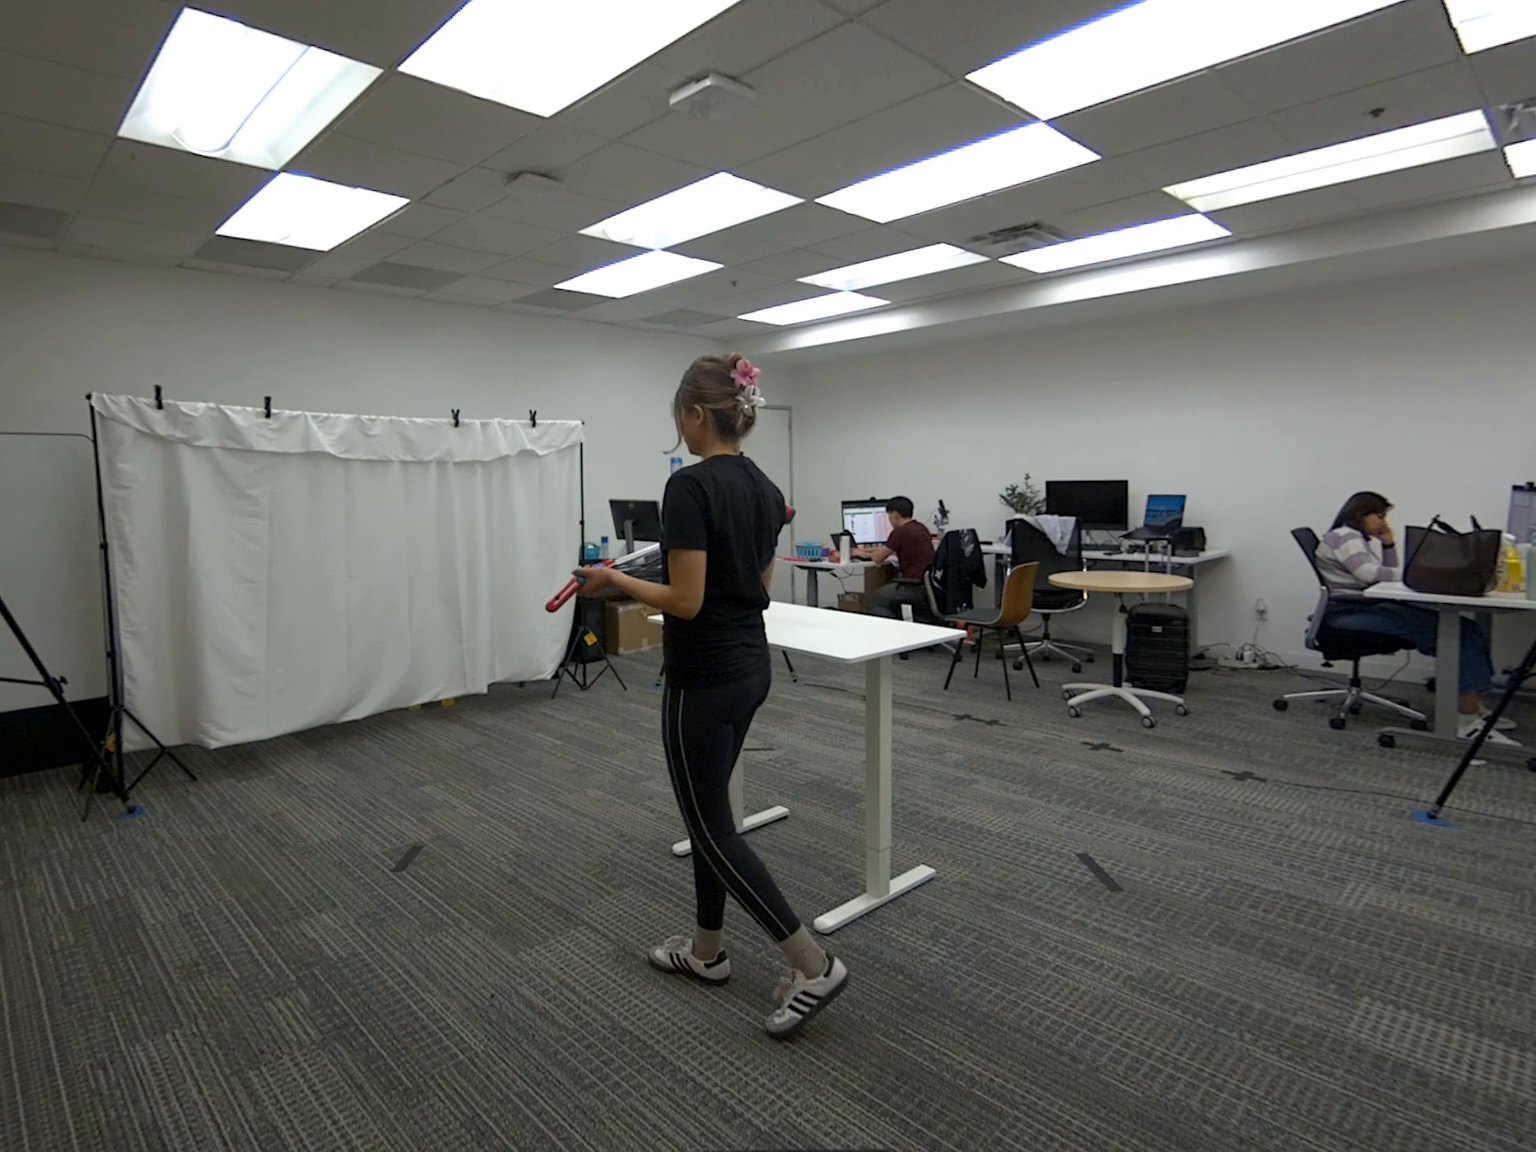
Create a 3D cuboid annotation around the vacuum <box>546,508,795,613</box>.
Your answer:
[{"bbox_3d":[-0.292,-0.069,2.586,0.260,0.142,1.034,26,30,25],"label":"vacuum"}]
